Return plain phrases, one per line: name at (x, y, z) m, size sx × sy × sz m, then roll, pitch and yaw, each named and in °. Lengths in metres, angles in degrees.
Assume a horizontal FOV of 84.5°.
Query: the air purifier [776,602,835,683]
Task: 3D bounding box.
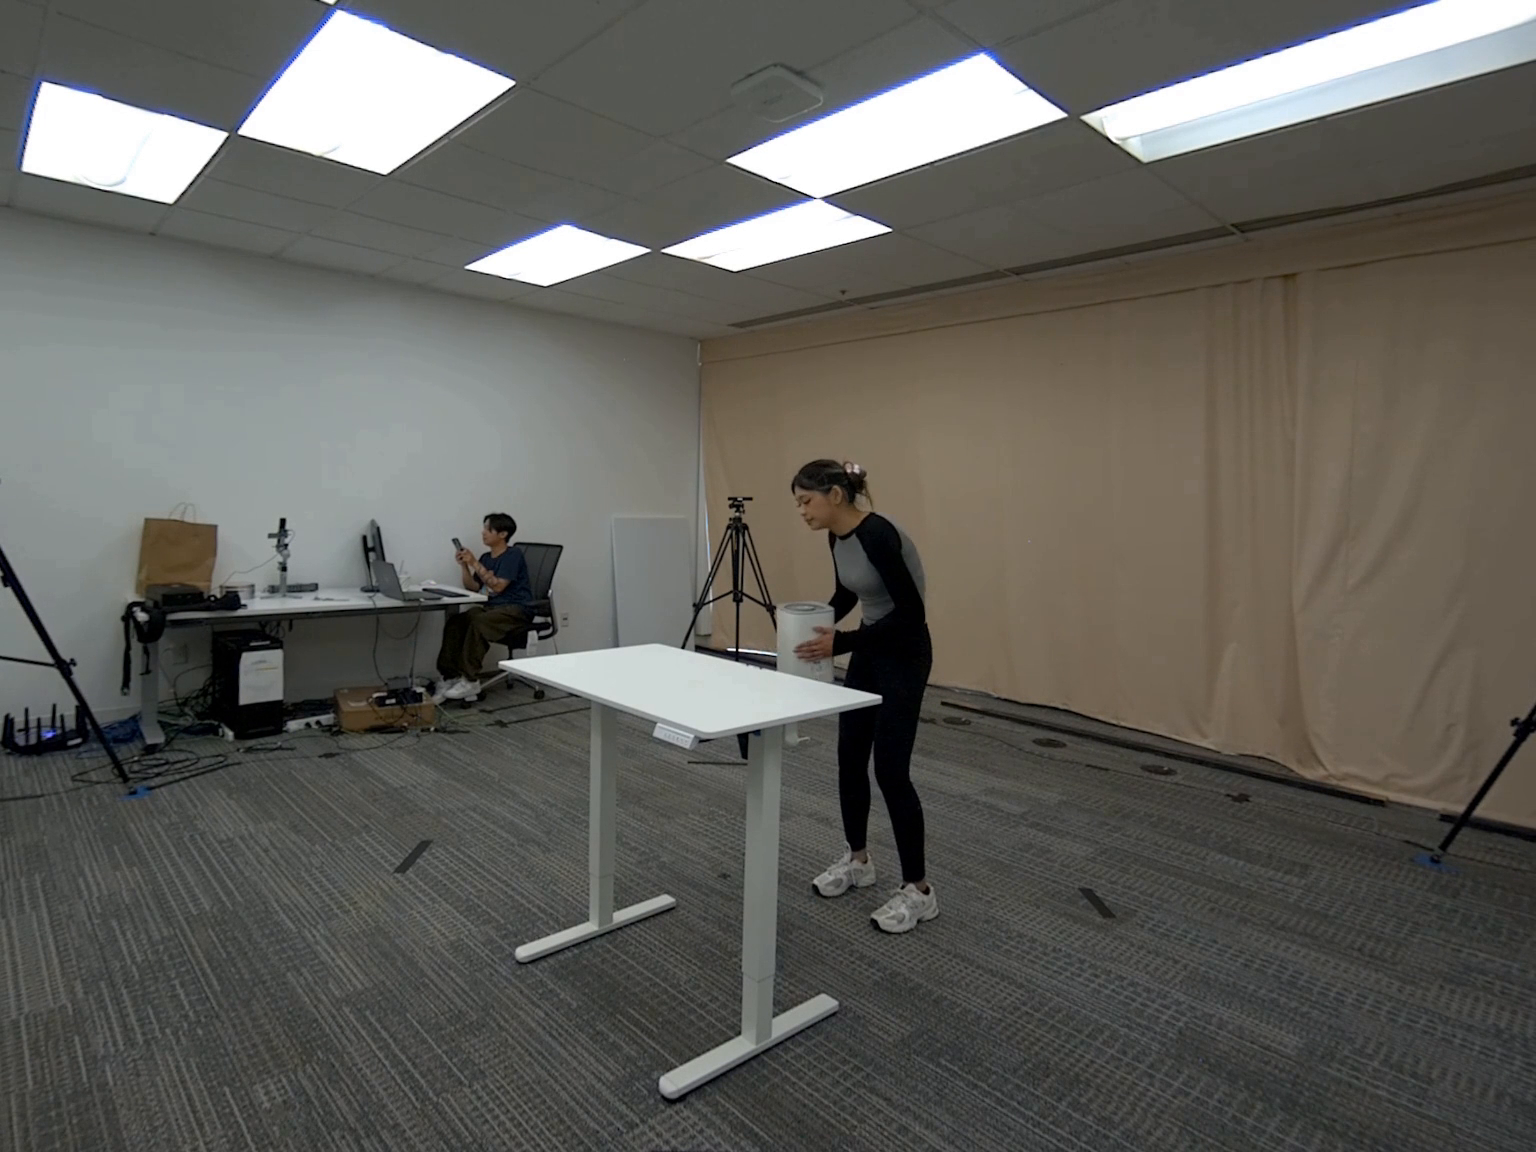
air purifier at (0.122, 0.238, 2.836) m, size 0.168 × 0.264 × 0.175 m, roll -4°, pitch 8°, yaw -23°
